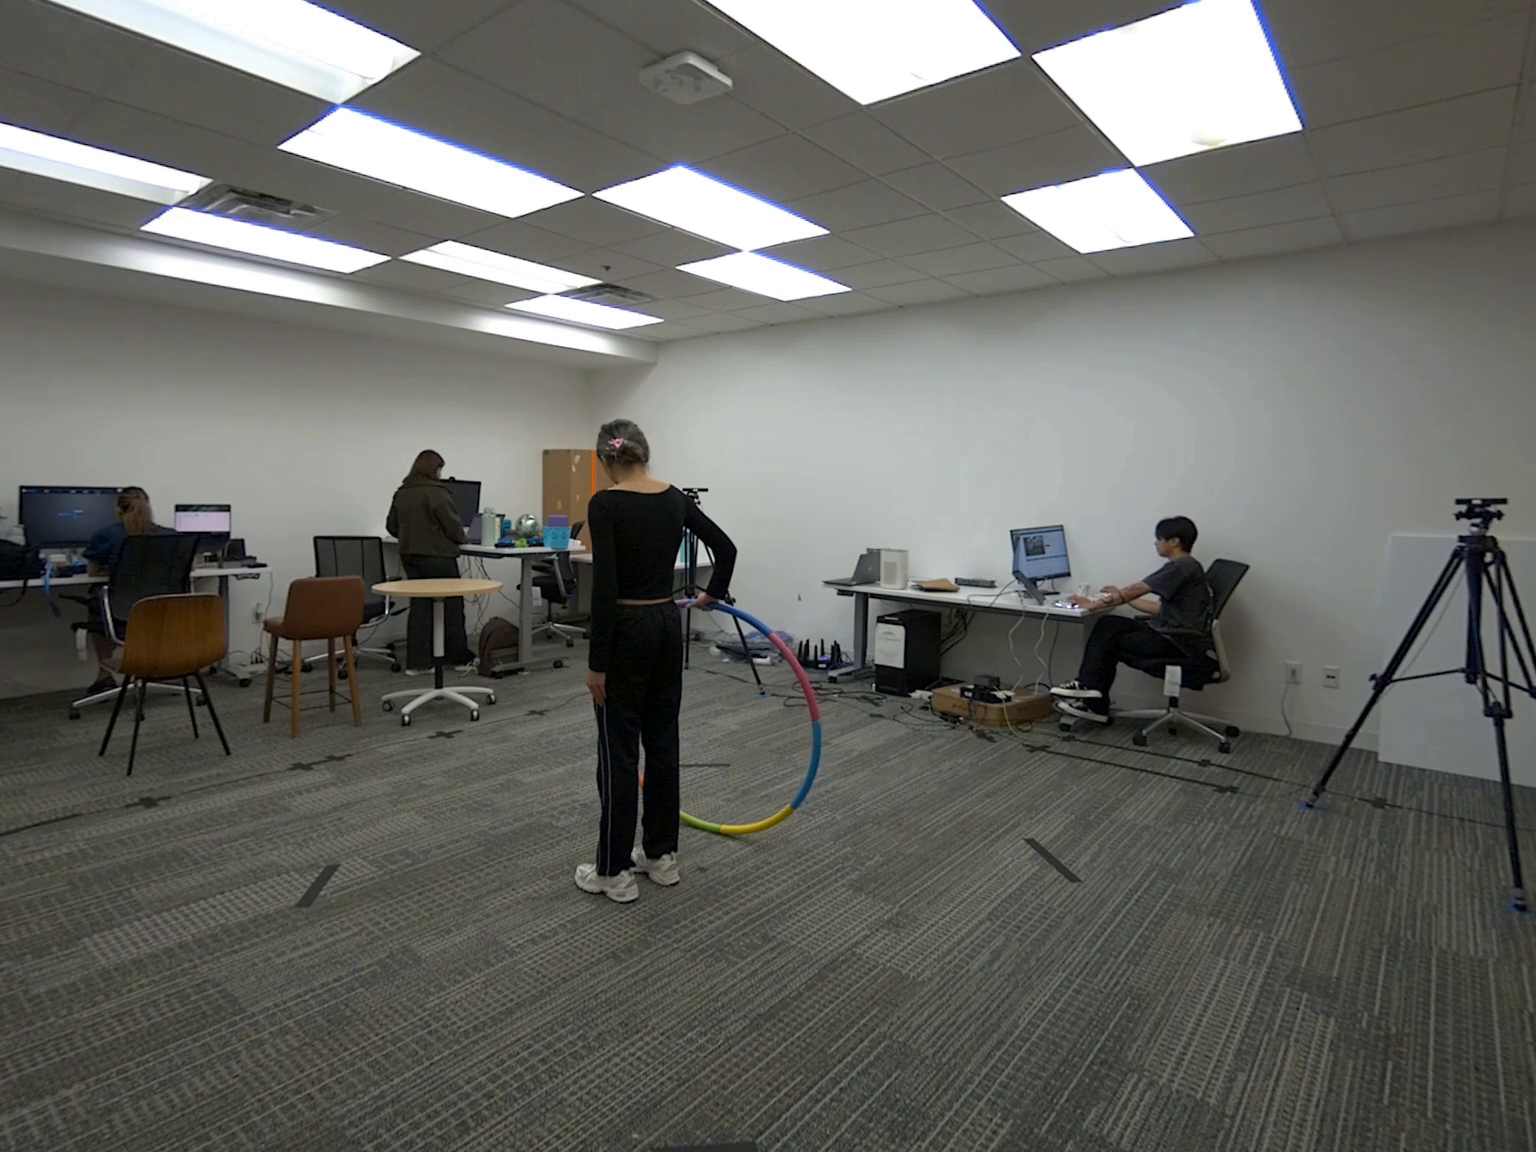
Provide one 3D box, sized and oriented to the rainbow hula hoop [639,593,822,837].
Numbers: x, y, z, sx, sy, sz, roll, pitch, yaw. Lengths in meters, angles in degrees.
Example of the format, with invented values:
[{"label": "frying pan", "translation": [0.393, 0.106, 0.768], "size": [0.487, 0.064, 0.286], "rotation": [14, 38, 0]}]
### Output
[{"label": "rainbow hula hoop", "translation": [-0.258, 0.562, 3.414], "size": [1.007, 0.972, 0.035], "rotation": [3, 8, 30]}]
